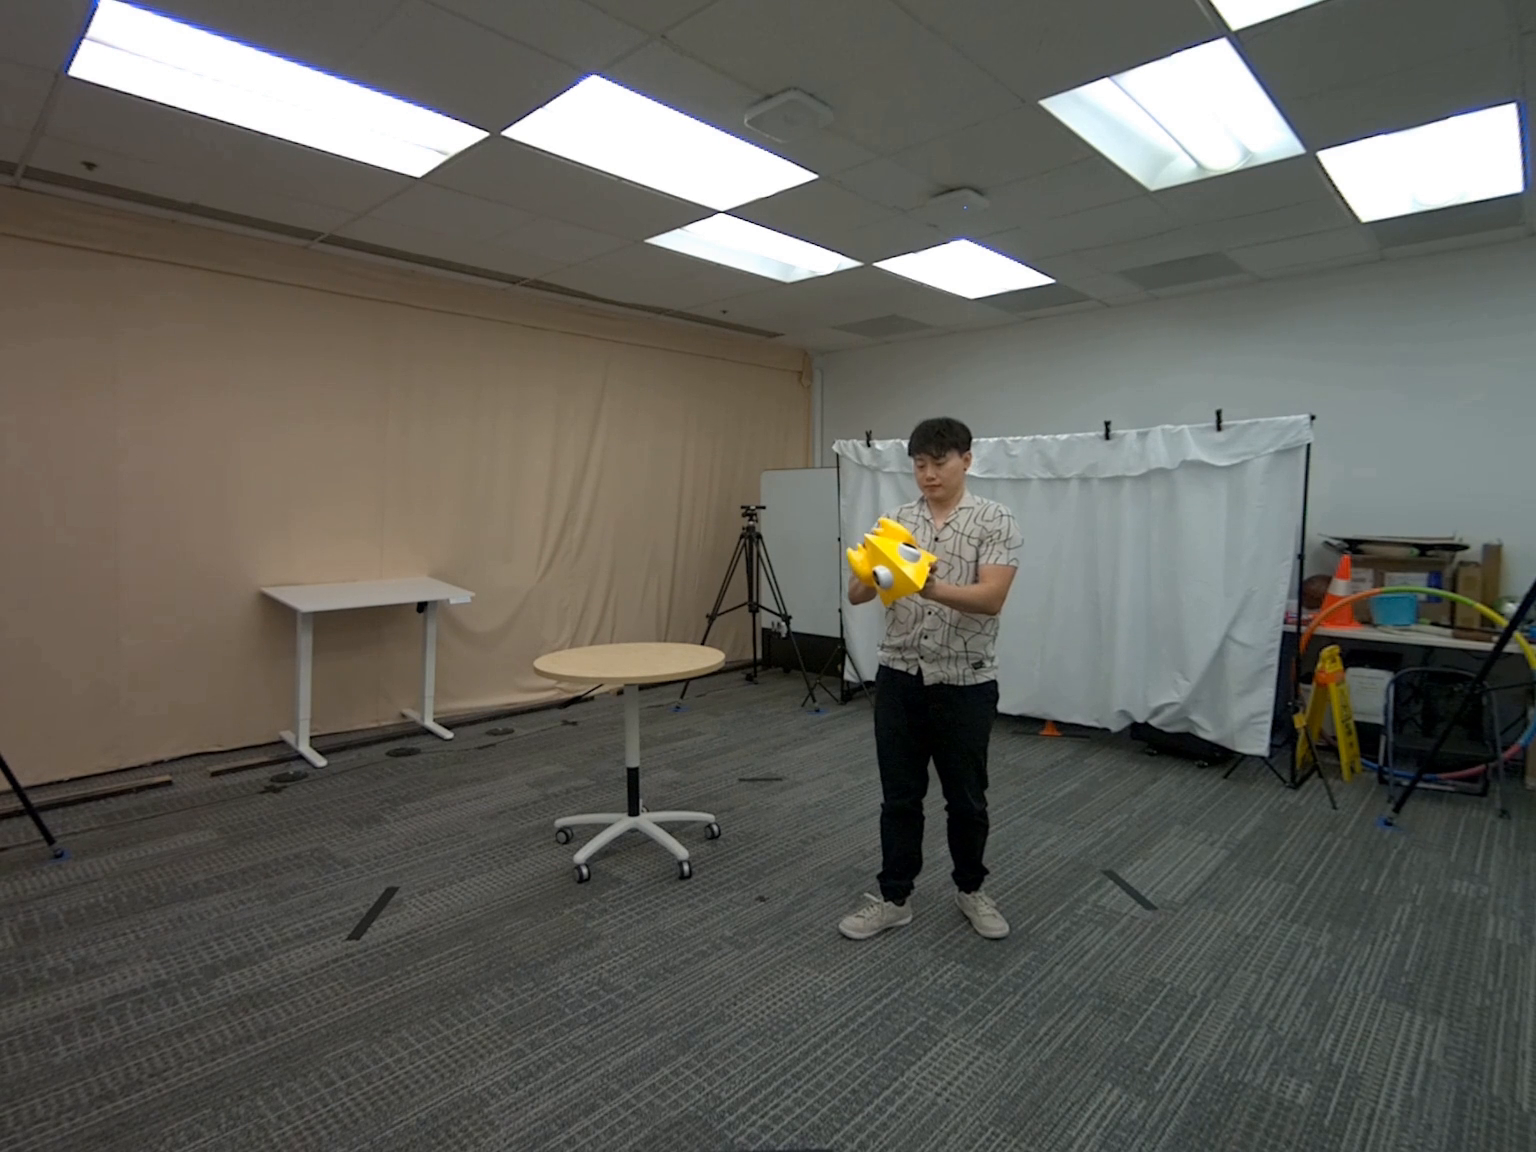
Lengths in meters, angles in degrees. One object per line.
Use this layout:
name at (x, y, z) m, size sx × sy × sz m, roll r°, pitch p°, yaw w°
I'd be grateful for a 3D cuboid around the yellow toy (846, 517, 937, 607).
yellow toy at (0.362, -0.036, 2.372) m, size 0.190 × 0.205 × 0.234 m, roll 44°, pitch 4°, yaw -15°
